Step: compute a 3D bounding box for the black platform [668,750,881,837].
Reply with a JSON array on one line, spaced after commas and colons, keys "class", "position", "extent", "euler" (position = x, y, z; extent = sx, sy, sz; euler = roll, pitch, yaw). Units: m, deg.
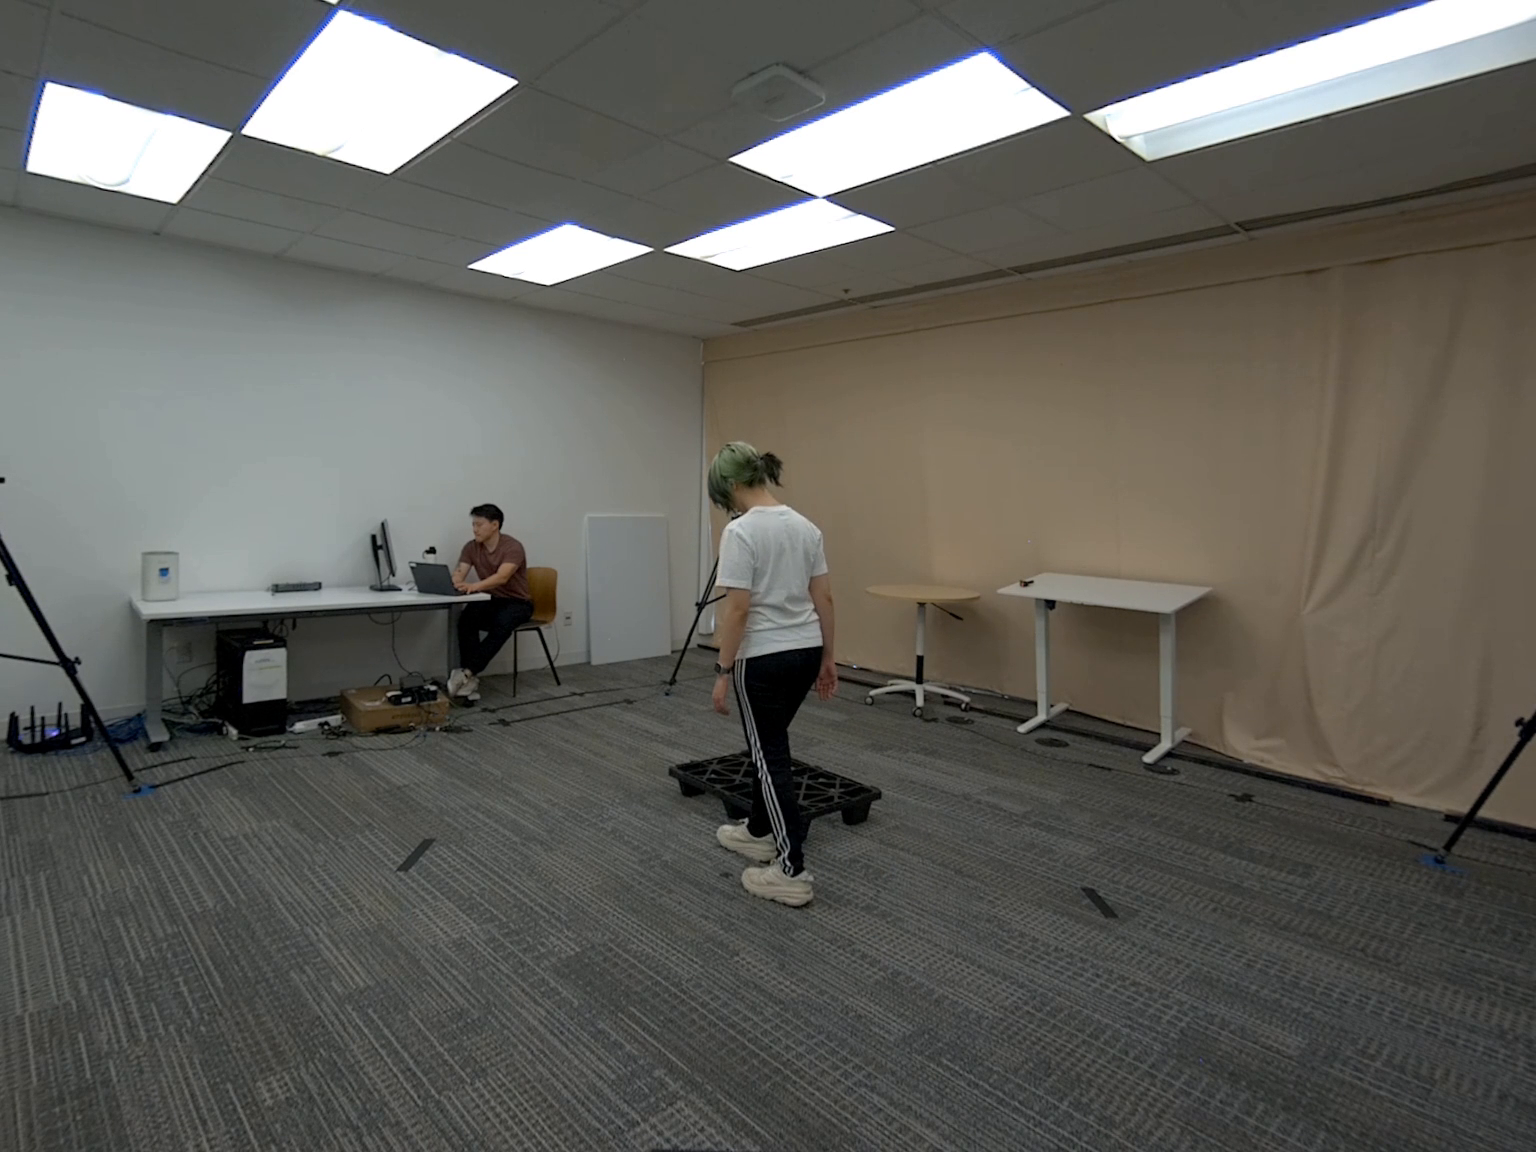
[{"class": "black platform", "position": [0.005, 0.980, 3.801], "extent": [0.591, 0.143, 0.826], "euler": [-3, 6, -40]}]
